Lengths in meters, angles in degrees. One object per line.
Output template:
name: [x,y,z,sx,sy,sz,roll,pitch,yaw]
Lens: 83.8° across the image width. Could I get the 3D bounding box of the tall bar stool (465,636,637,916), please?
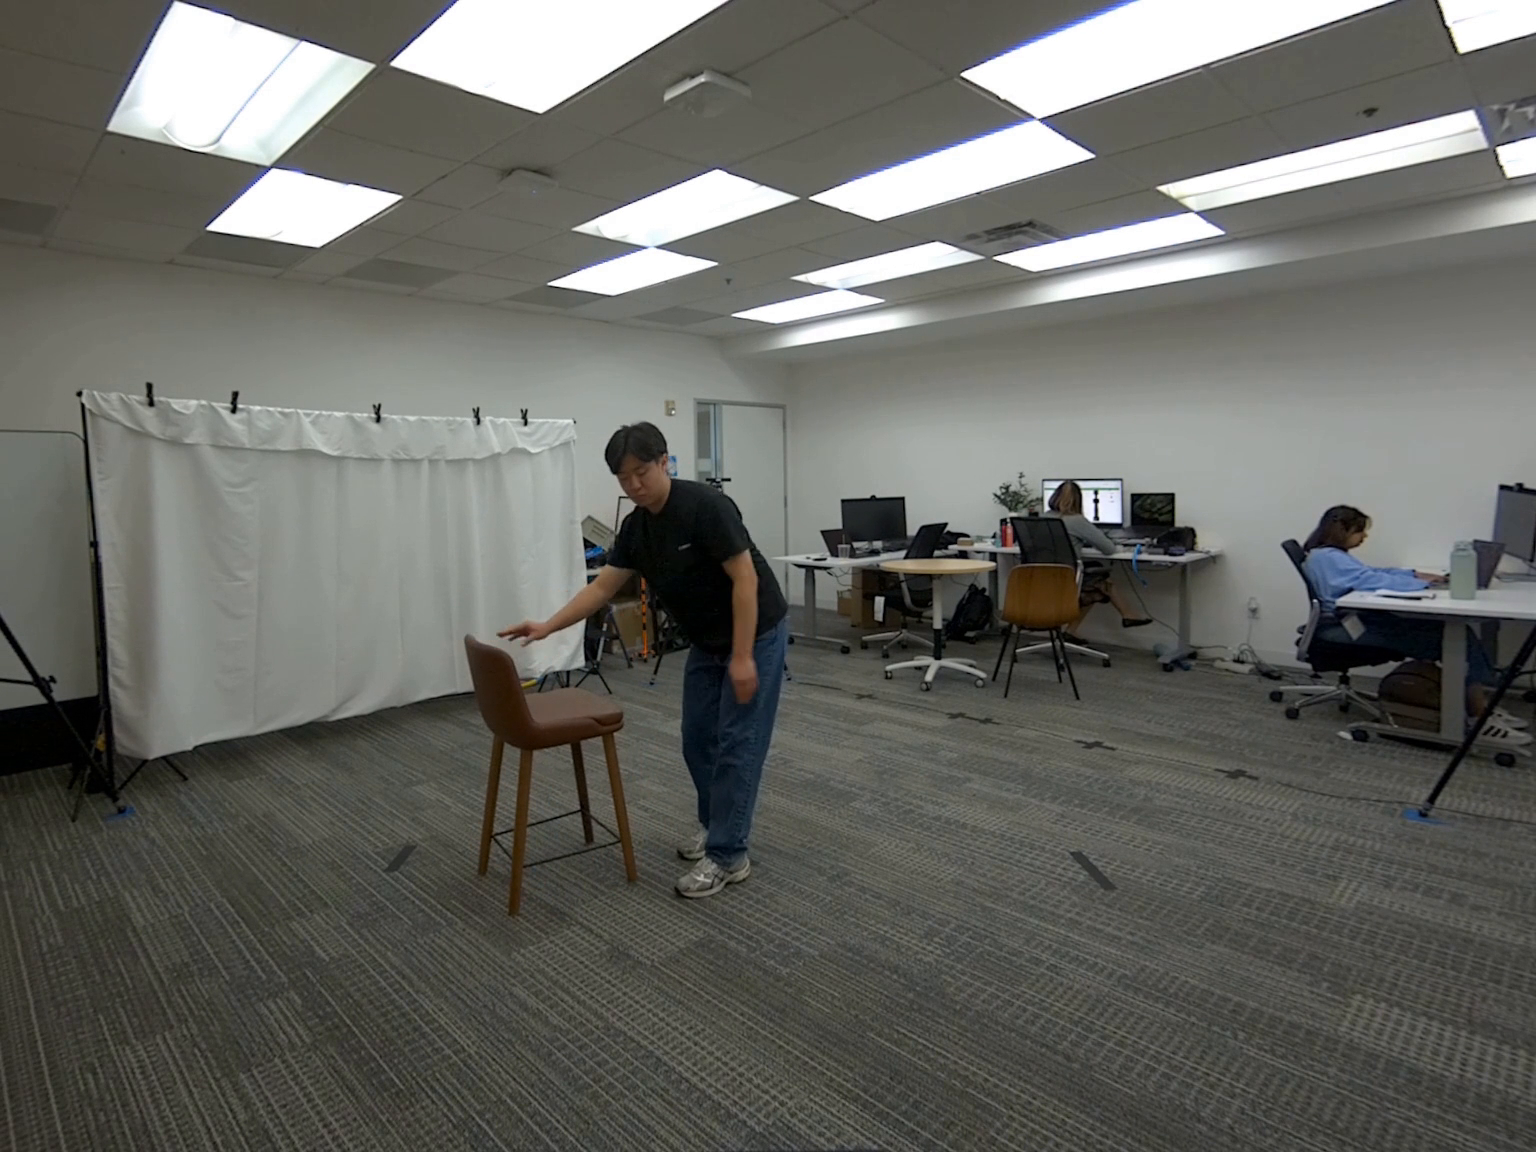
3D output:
tall bar stool: [-0.761,0.630,2.991,0.457,0.885,0.470,-6,7,-34]
